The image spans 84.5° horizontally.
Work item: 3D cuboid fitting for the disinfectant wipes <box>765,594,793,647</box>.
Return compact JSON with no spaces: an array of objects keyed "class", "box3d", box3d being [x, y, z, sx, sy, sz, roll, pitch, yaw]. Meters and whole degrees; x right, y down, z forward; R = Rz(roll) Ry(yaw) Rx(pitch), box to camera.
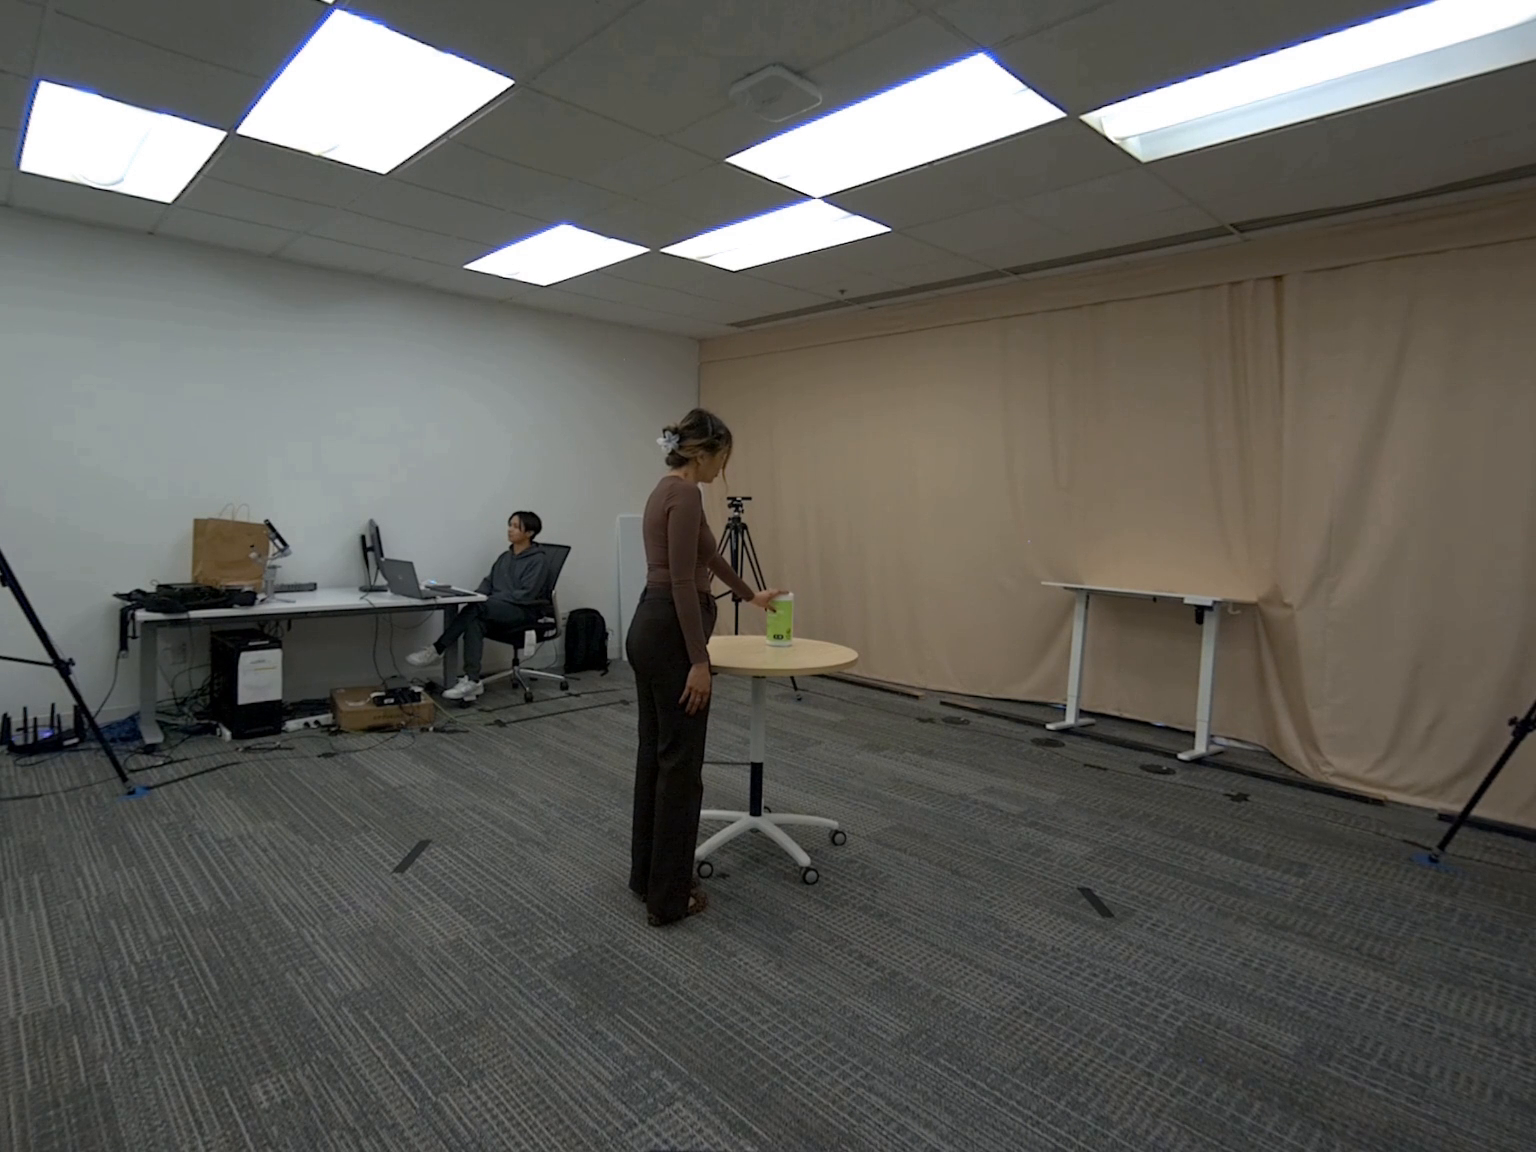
[{"class":"disinfectant wipes","box3d":[0.041,0.178,3.464,0.118,0.217,0.118,2,4,-2]}]
